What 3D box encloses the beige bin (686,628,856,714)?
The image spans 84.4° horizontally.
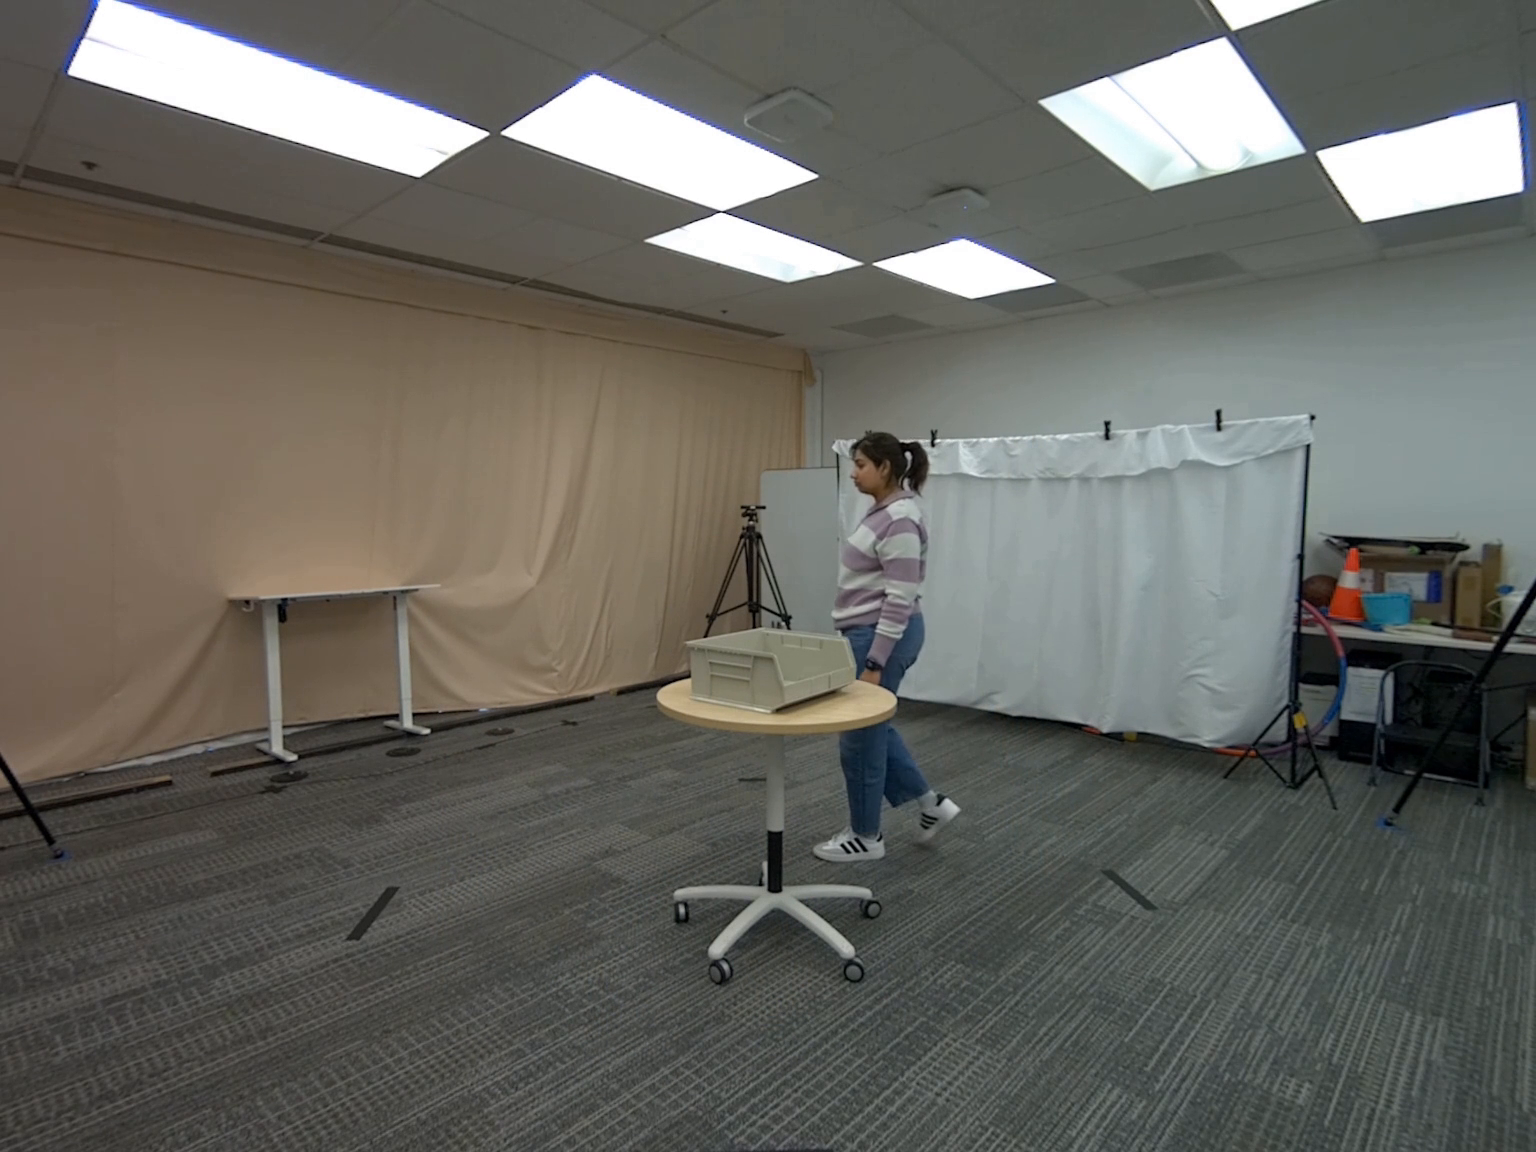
[{"bbox_3d":[0.015,0.295,2.686,0.389,0.188,0.410,1,4,37],"label":"beige bin"}]
